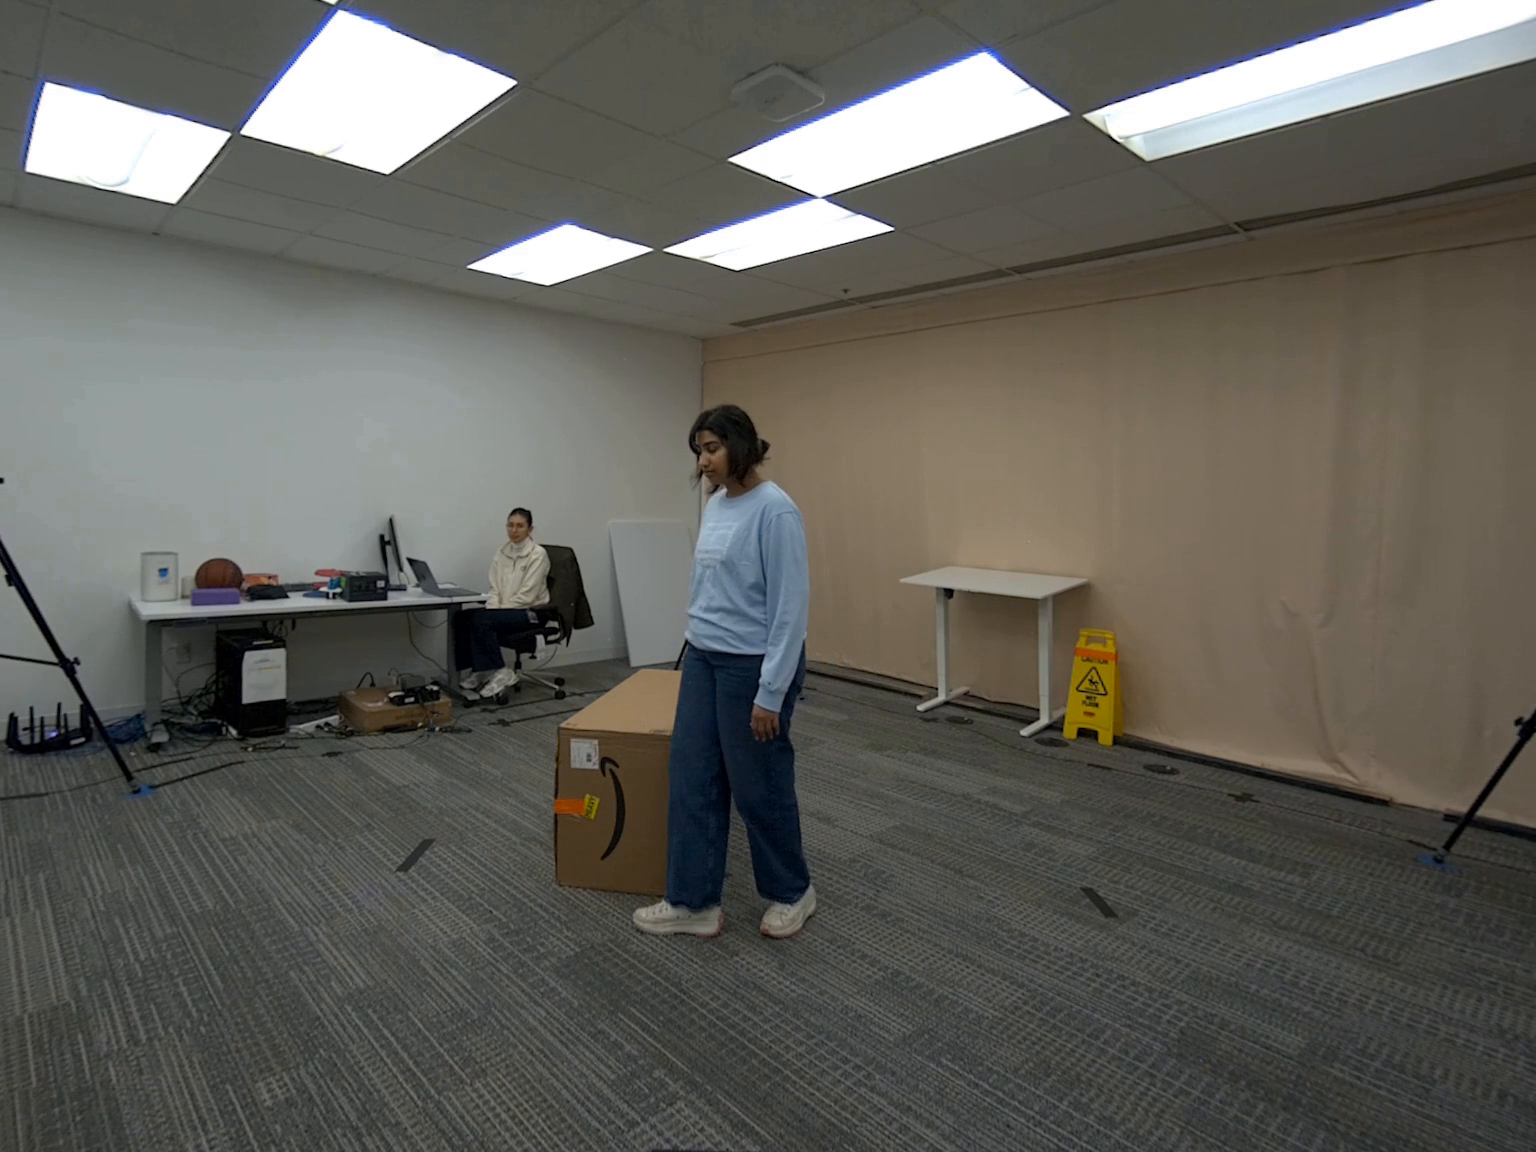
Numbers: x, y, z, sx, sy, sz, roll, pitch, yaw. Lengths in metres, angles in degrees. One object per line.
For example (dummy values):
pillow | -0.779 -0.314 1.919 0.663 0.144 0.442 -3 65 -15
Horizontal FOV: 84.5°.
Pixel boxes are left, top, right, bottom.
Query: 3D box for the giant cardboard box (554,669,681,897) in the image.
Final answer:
giant cardboard box | -0.483 0.775 3.448 0.429 0.576 1.021 2 5 8
